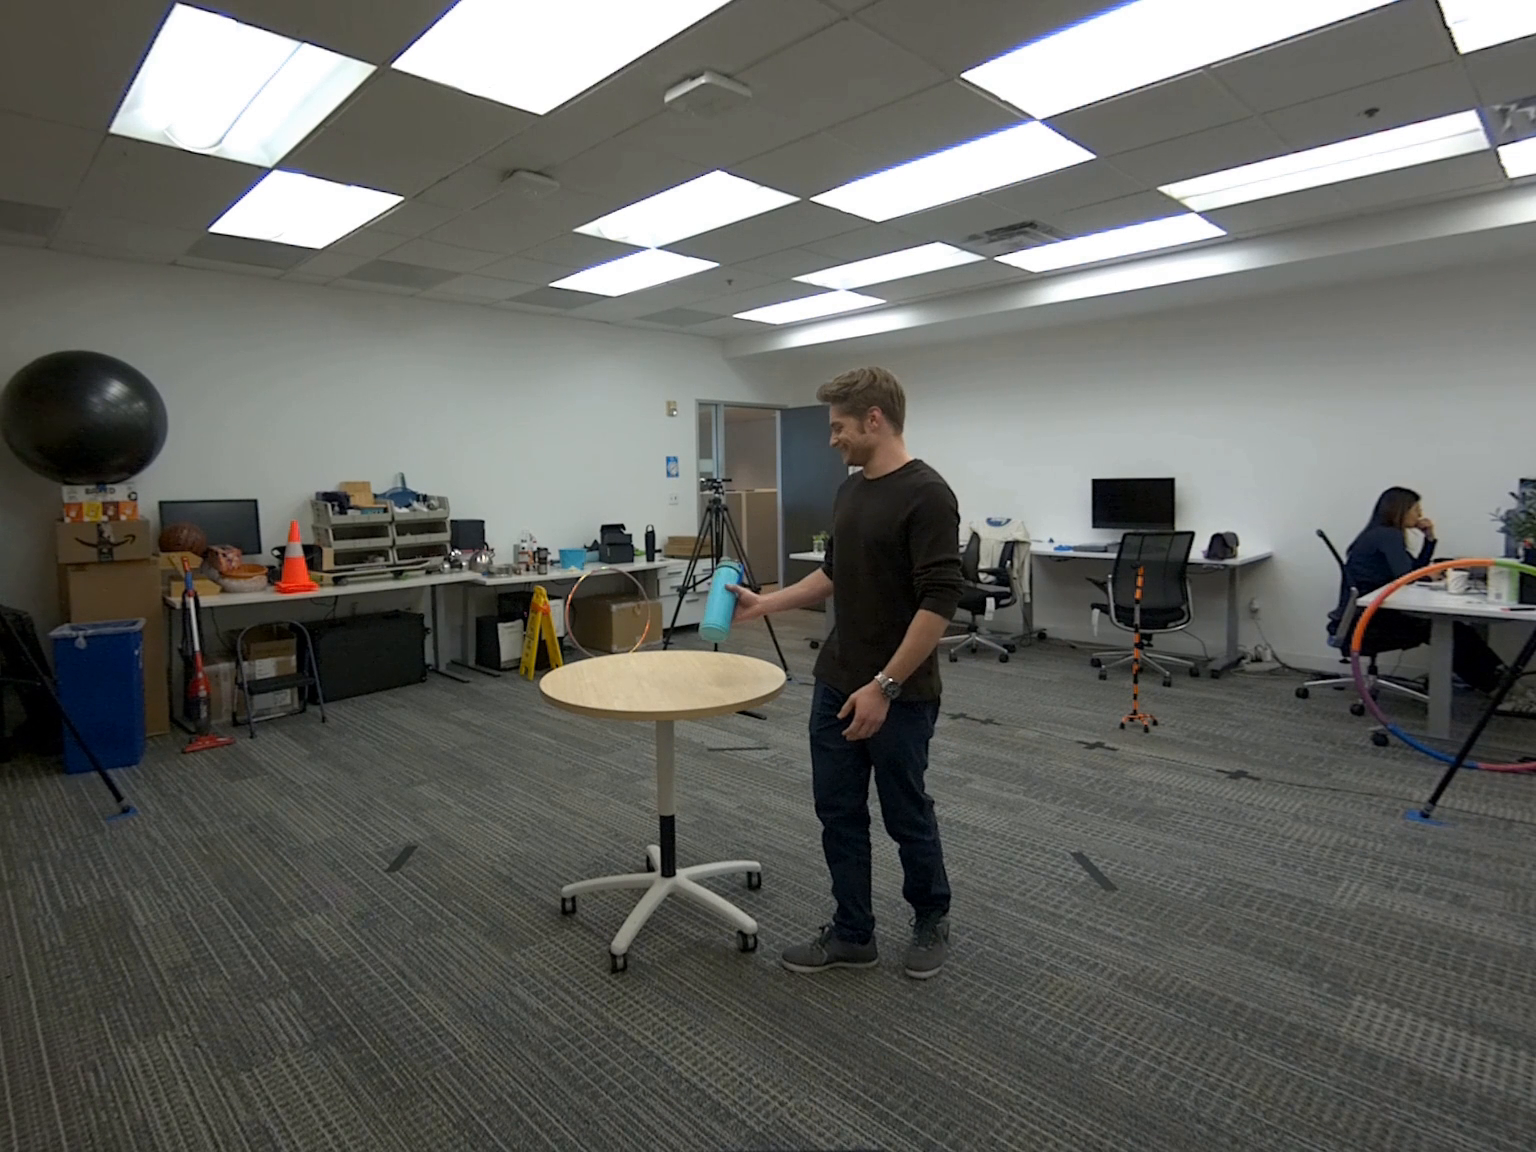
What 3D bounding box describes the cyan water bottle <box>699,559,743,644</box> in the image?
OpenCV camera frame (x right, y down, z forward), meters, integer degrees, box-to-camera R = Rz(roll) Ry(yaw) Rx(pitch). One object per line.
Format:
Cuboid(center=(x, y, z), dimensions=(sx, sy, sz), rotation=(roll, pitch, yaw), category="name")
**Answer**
Cuboid(center=(-0.128, 0.060, 2.642), dimensions=(0.094, 0.288, 0.089), rotation=(0, -41, 19), category="cyan water bottle")
